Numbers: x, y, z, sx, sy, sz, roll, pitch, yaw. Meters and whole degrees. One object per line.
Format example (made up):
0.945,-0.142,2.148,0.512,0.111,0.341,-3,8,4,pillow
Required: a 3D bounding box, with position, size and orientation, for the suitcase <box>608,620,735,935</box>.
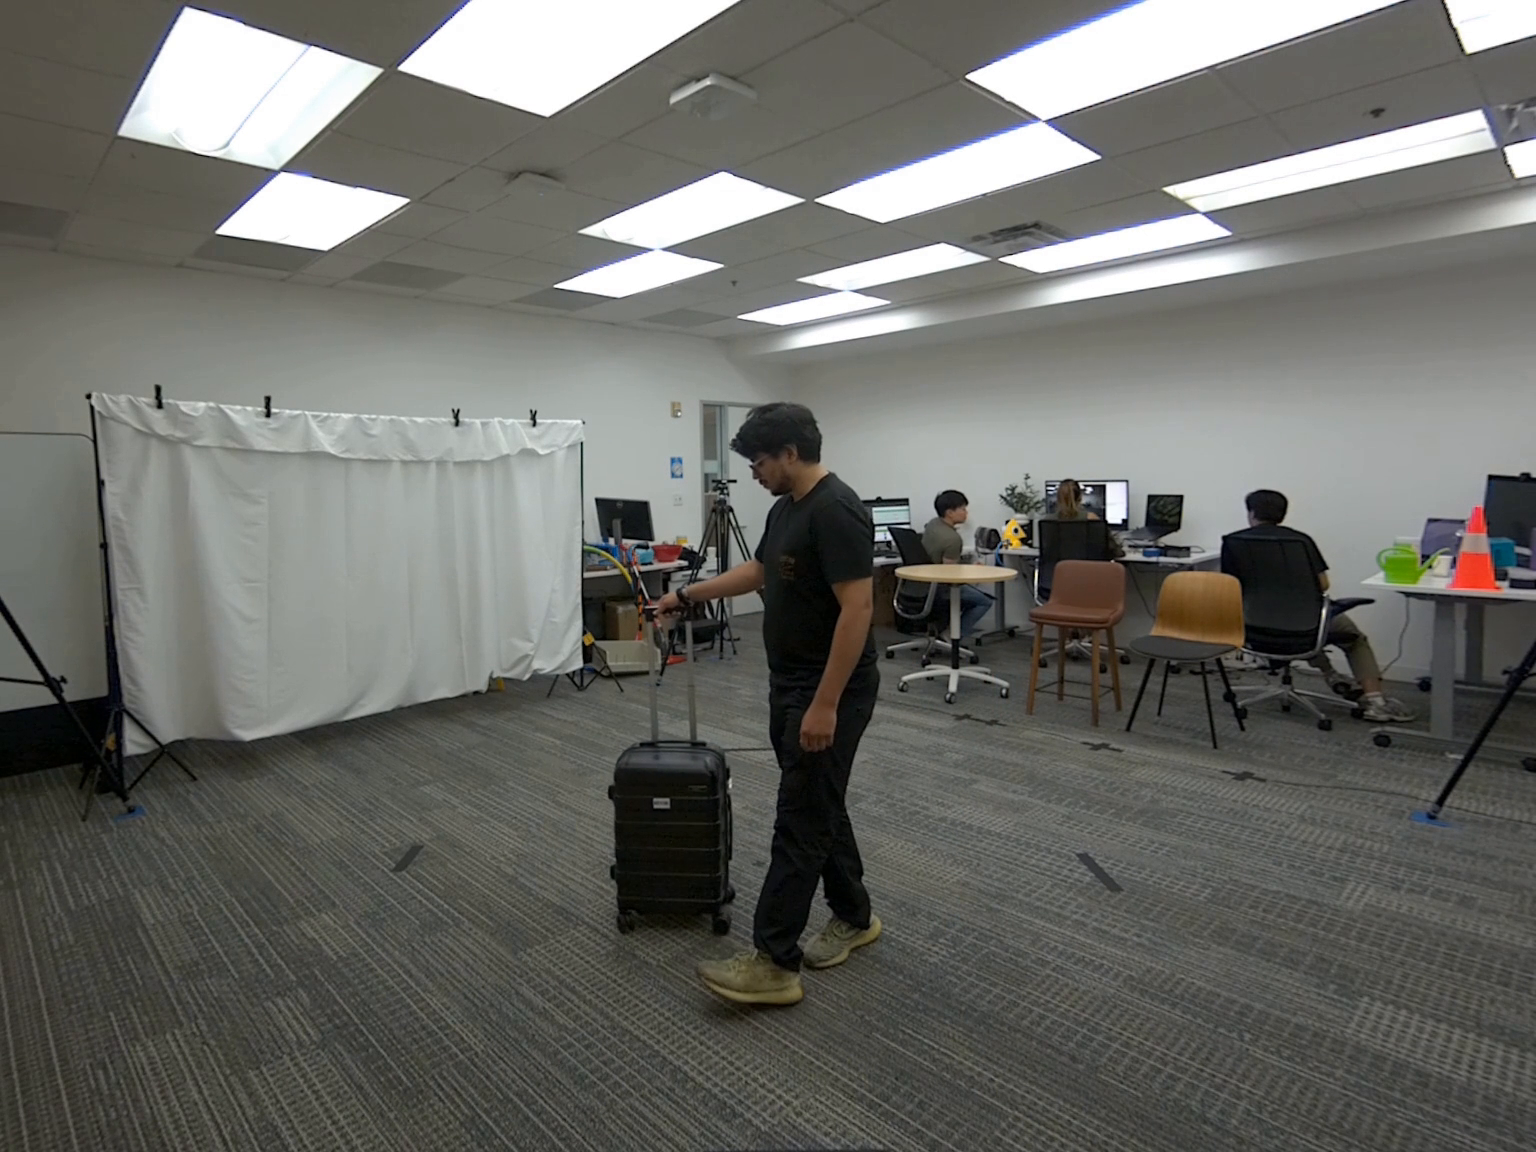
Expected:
-0.307,0.615,2.742,0.386,0.975,0.256,-1,3,5,suitcase
